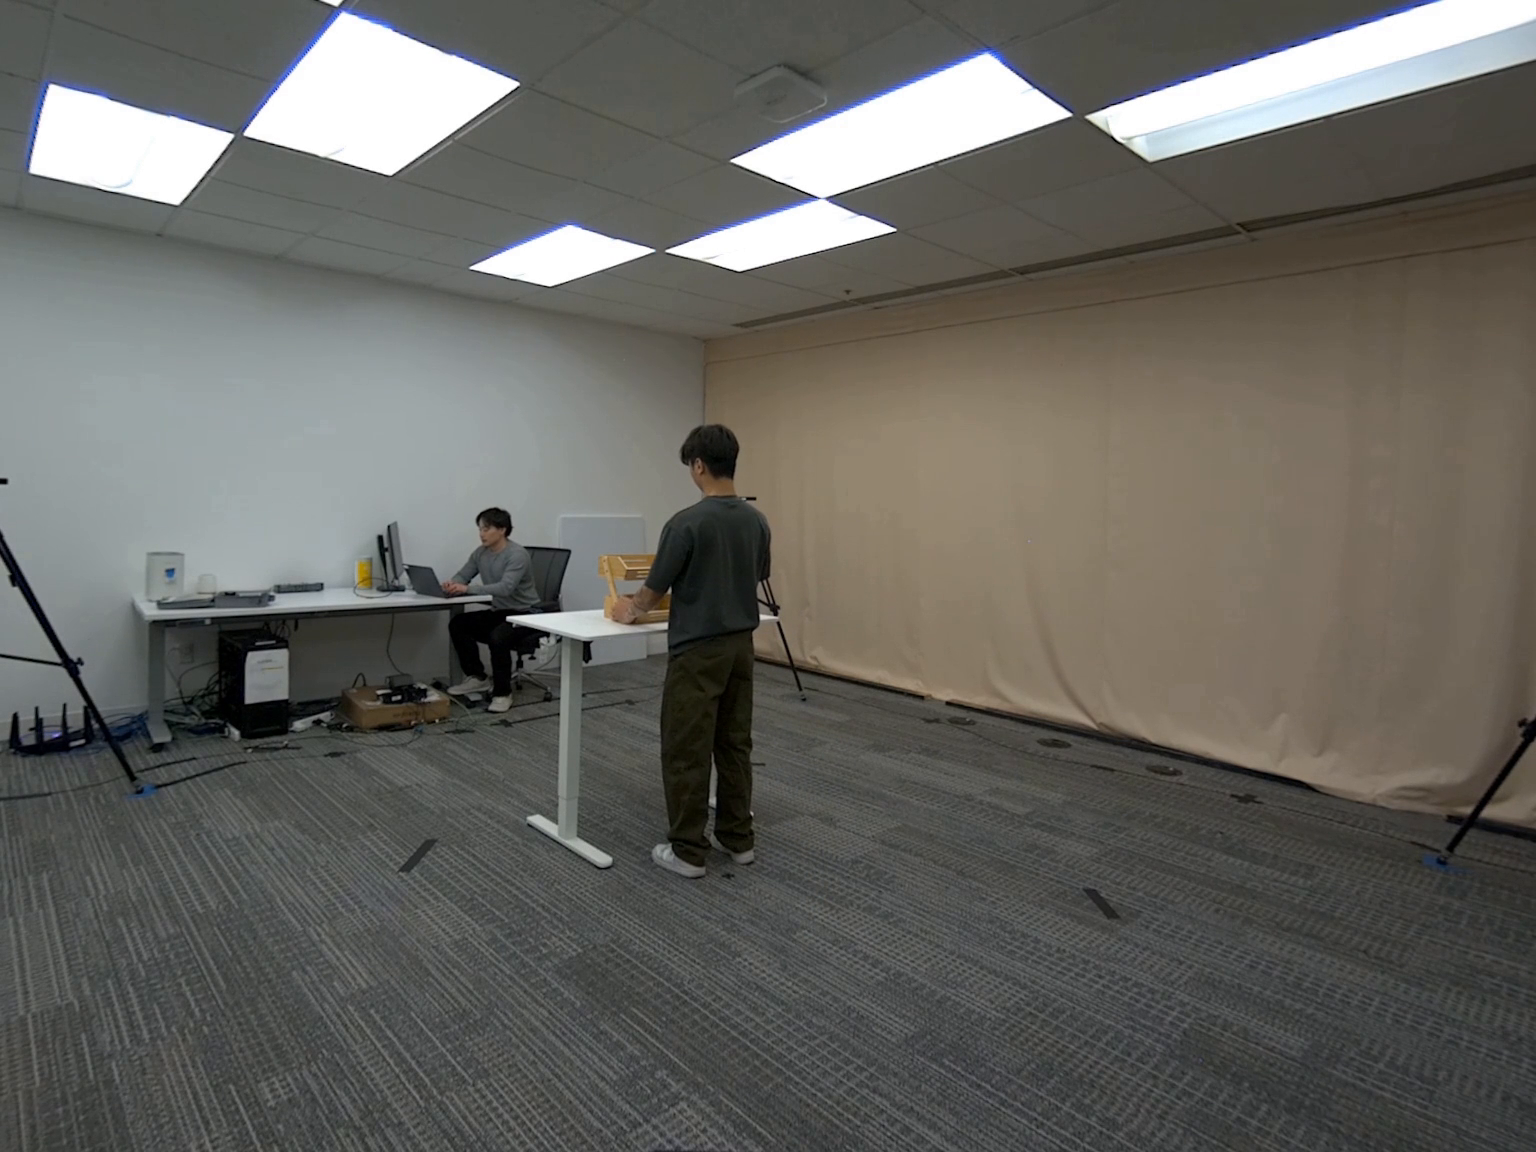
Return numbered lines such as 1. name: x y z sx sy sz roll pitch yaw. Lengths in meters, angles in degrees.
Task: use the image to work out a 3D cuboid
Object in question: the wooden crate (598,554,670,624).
1. wooden crate: -0.515 0.044 3.540 0.317 0.273 0.309 -1 4 -44
